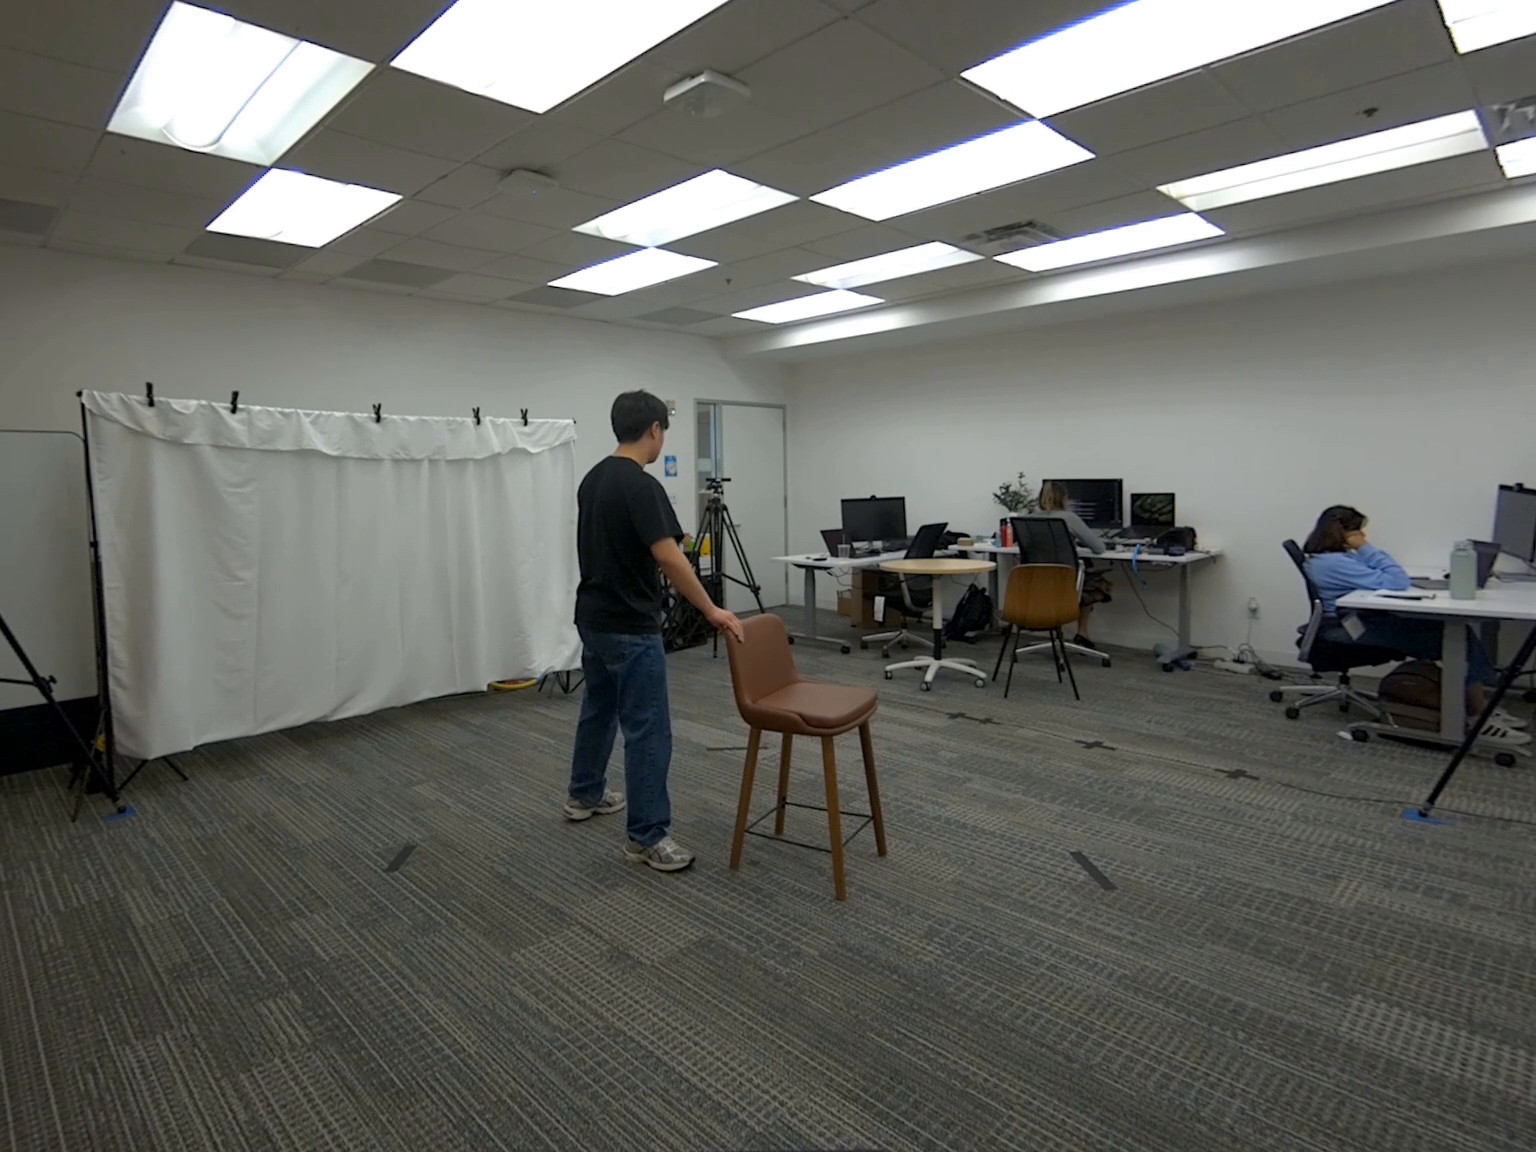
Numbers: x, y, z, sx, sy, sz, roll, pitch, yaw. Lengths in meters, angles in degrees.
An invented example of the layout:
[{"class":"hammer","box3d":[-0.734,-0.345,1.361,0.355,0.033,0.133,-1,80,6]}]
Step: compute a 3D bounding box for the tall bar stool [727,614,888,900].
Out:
[{"class":"tall bar stool","box3d":[0.134,0.603,3.078,0.480,0.888,0.446,-1,3,31]}]
